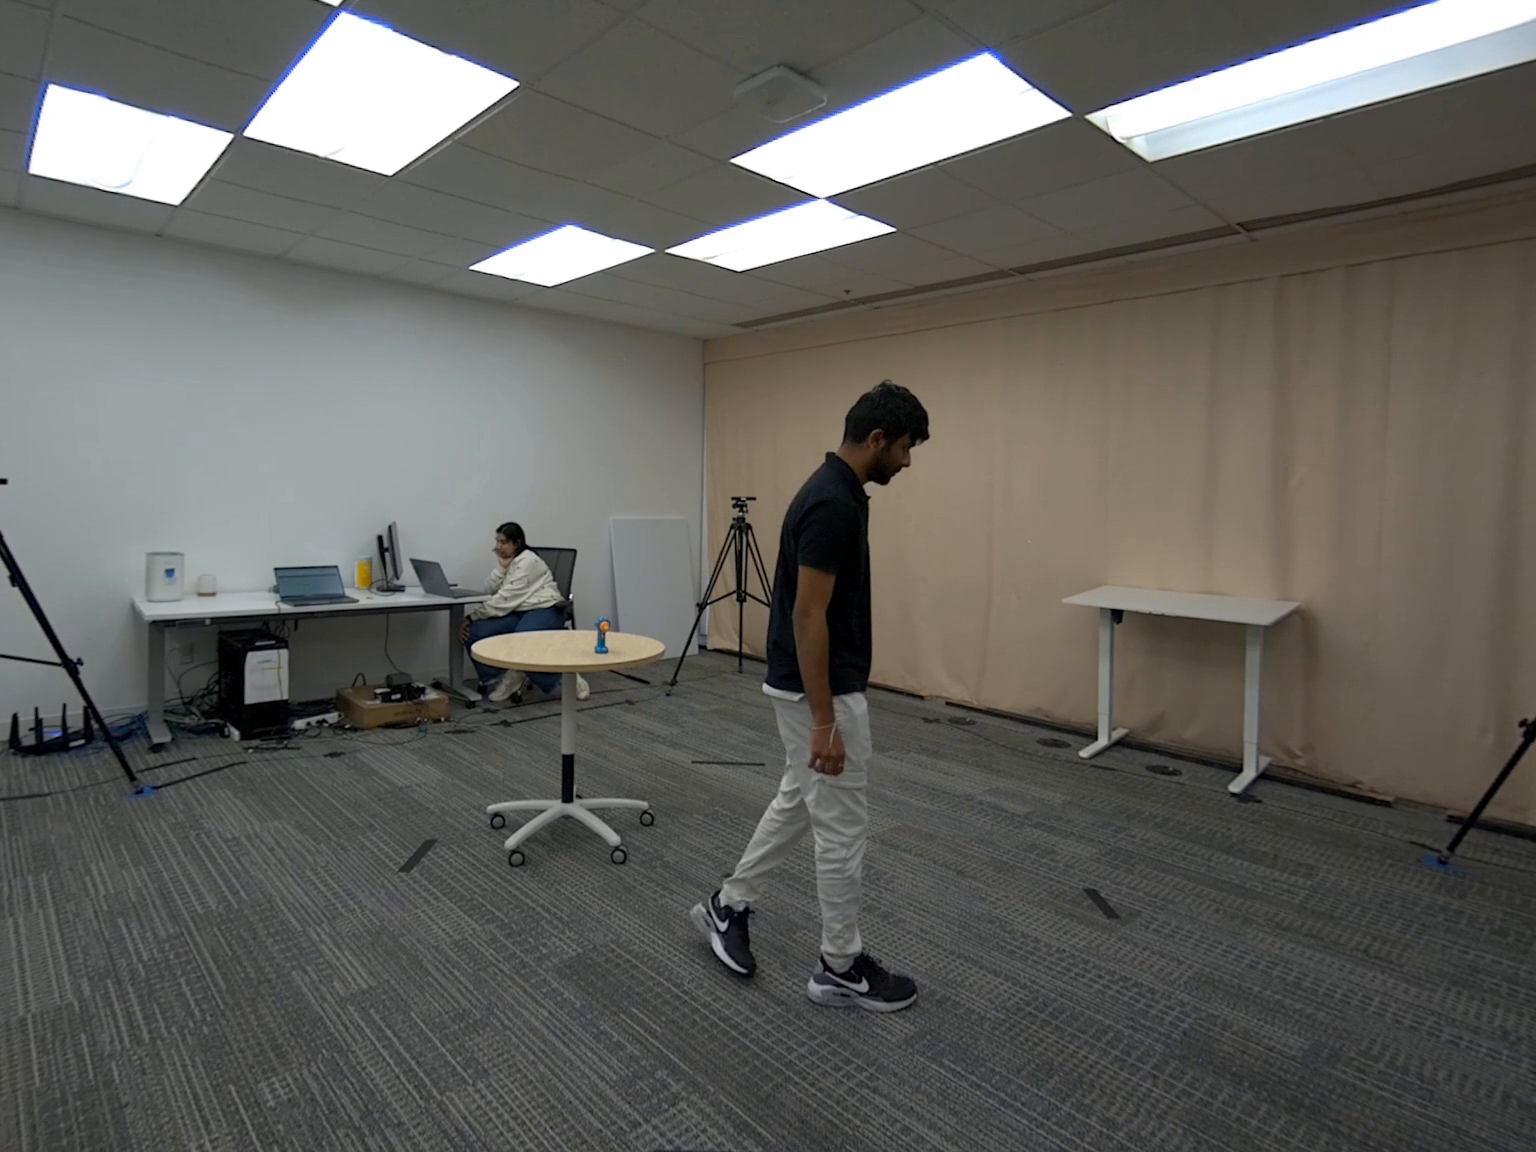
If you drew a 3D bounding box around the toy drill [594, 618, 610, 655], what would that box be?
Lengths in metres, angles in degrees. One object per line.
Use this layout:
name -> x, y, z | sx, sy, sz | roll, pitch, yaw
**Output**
toy drill -> -0.647, 0.230, 3.241 | 0.060, 0.145, 0.172 | 1, 5, -18
